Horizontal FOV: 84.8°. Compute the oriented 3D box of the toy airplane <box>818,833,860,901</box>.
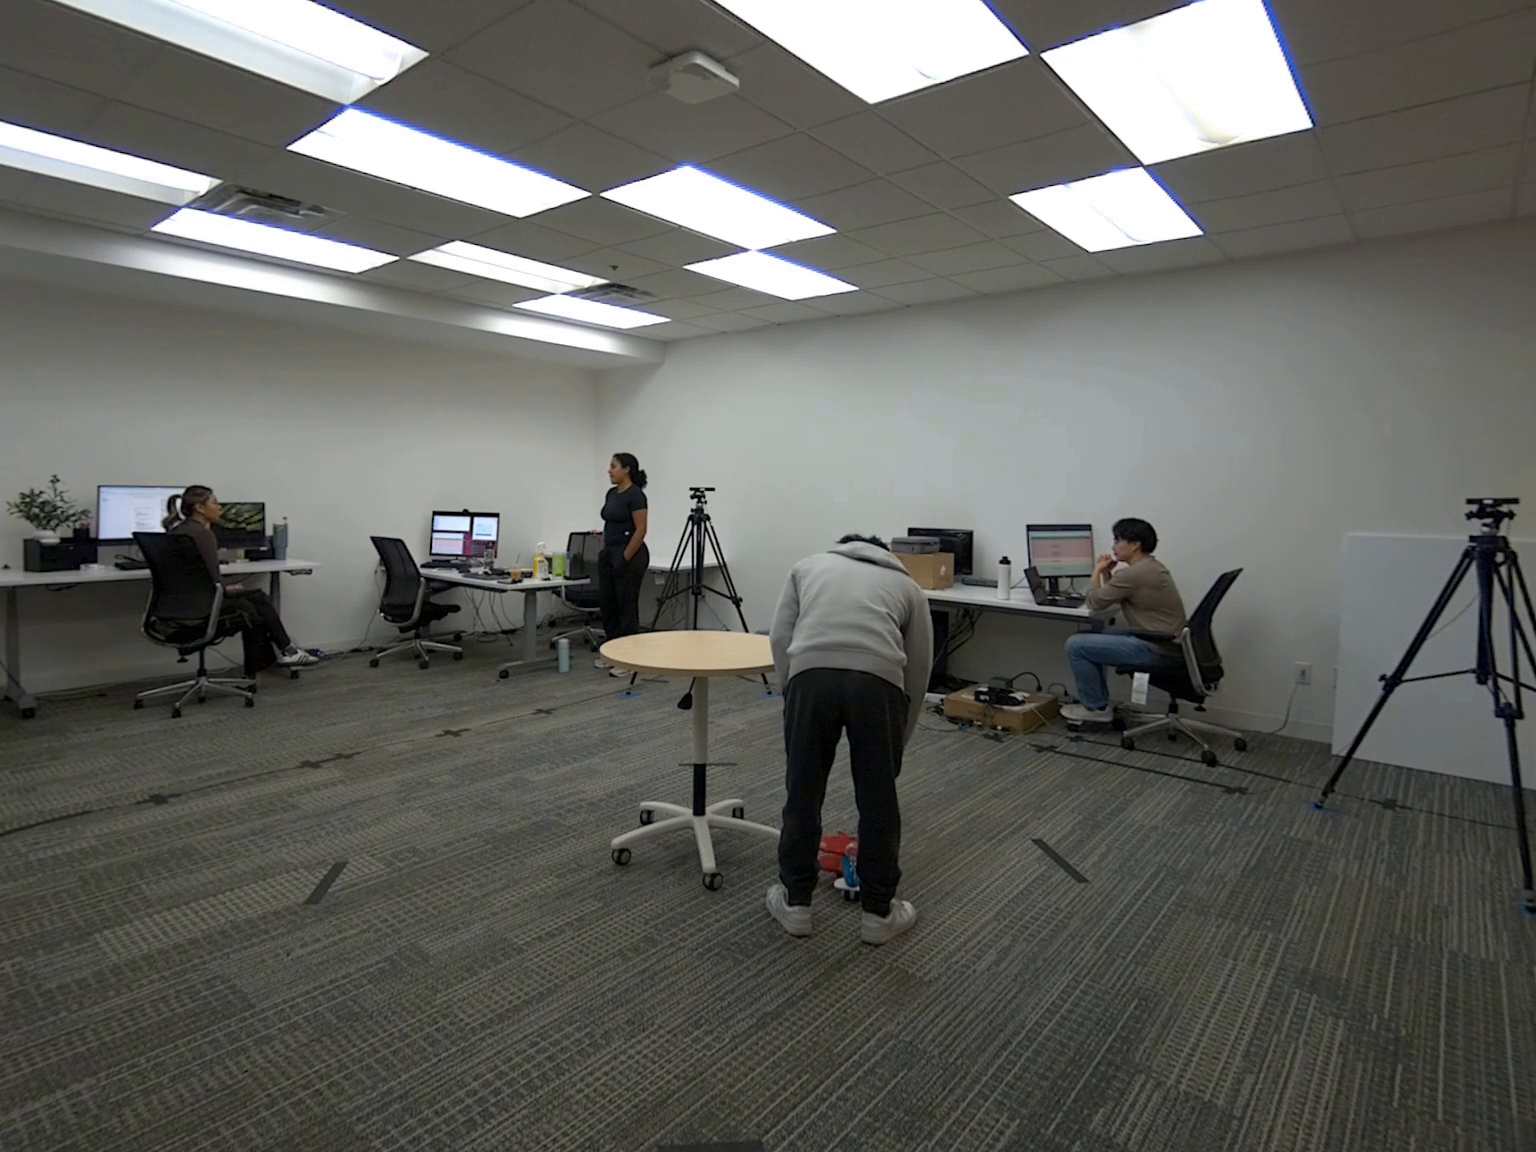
[{"bbox_3d":[0.304,1.016,2.982,0.246,0.156,0.265,0,5,-21],"label":"toy airplane"}]
